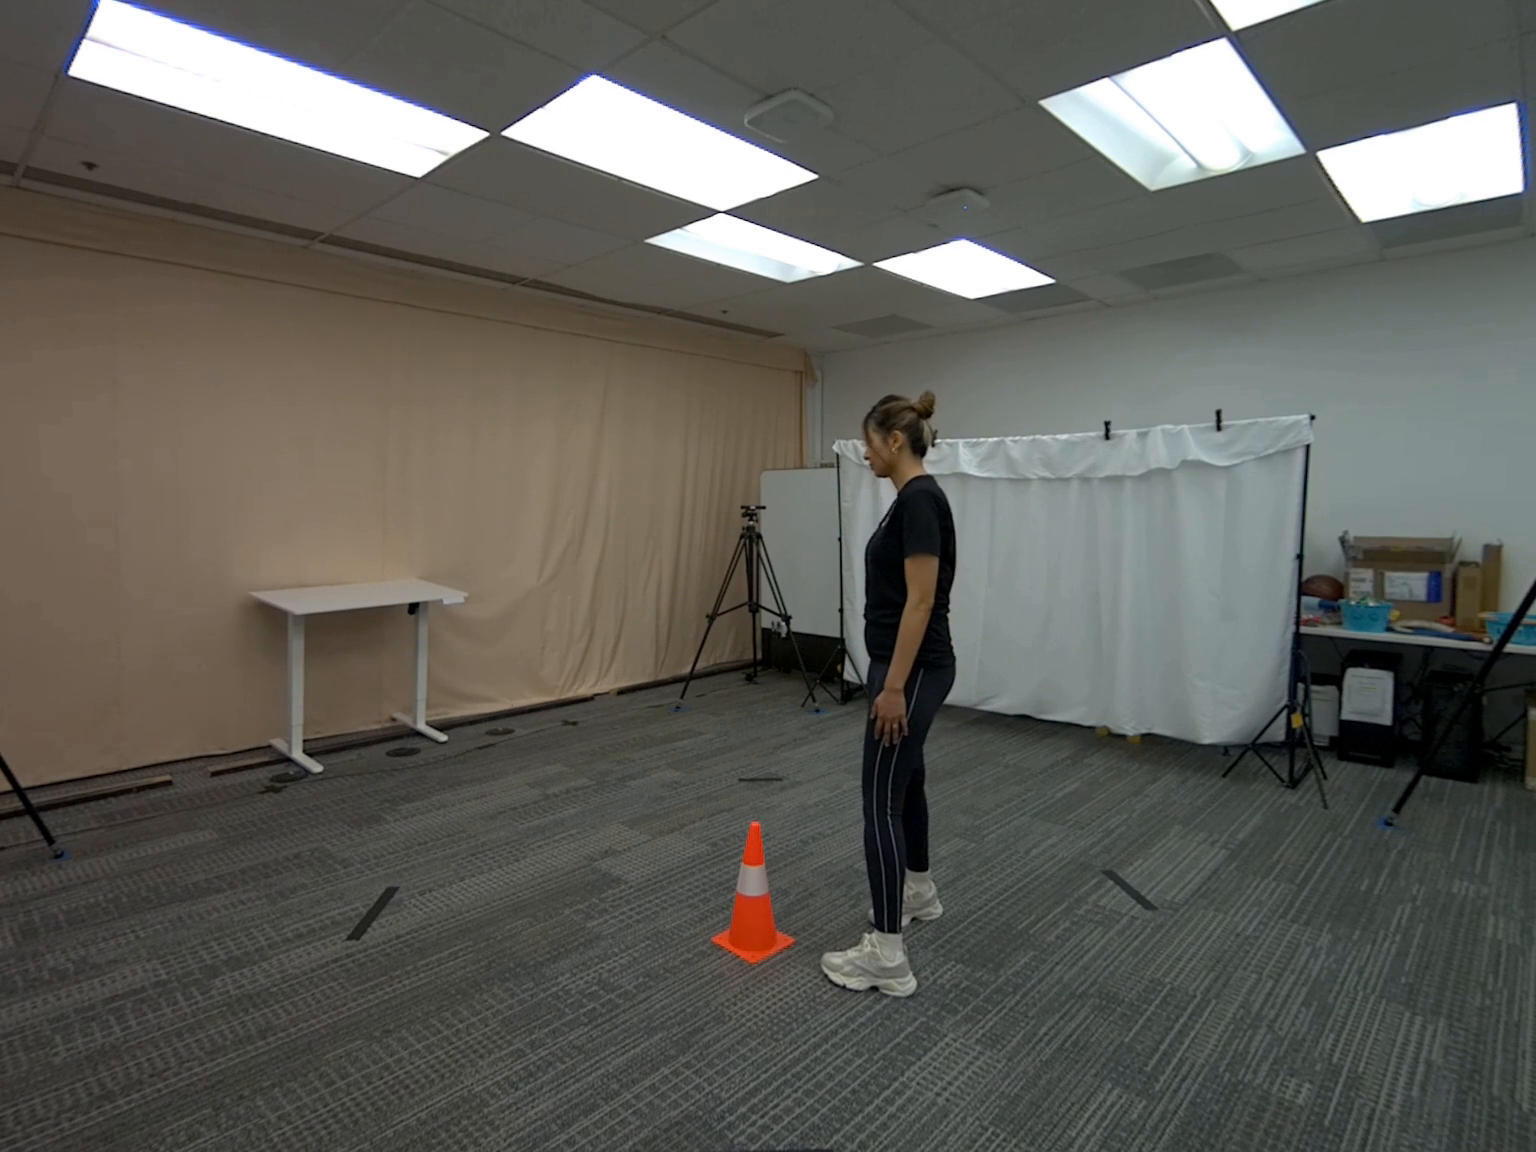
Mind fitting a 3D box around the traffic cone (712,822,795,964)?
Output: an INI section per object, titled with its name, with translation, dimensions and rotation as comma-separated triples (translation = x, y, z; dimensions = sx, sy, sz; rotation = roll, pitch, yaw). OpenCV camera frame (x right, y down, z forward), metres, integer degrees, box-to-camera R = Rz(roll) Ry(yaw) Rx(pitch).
[traffic cone]
translation = -0.045, 0.987, 2.684
dimensions = 0.210, 0.383, 0.199
rotation = 2, 4, 40
